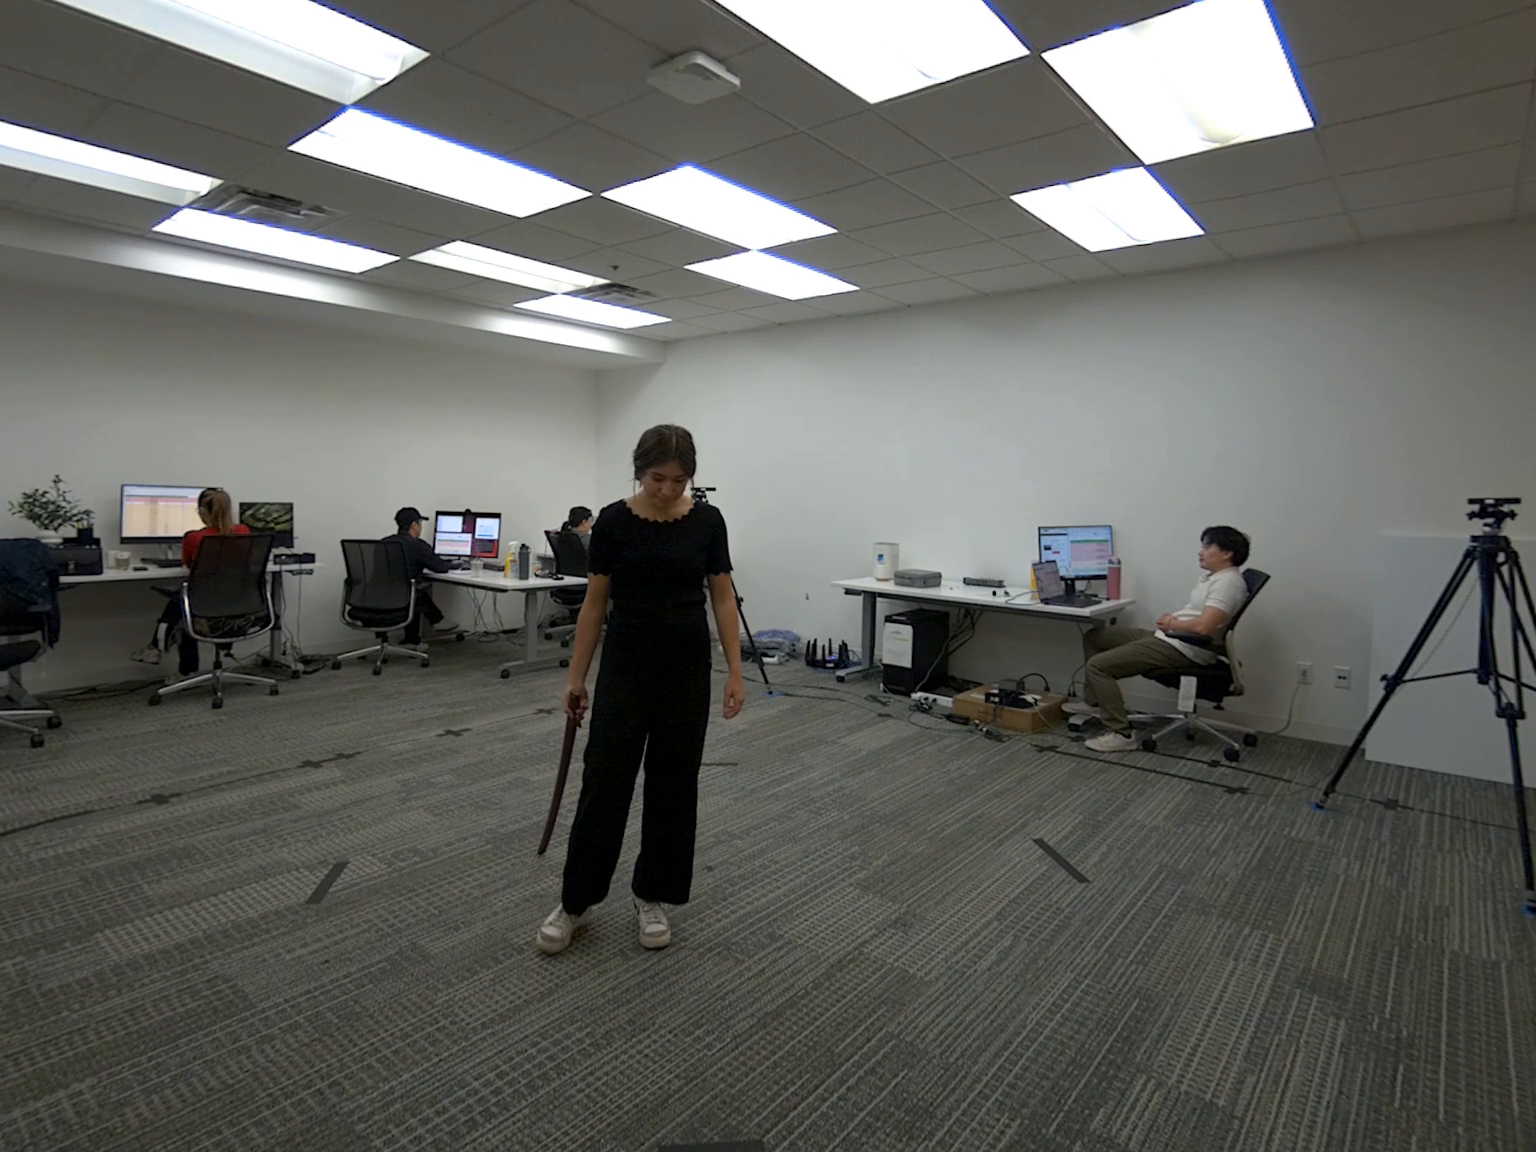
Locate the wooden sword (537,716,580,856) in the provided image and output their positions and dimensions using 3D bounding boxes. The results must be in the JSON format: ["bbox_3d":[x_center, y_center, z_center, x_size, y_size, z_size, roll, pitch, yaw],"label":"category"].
[{"bbox_3d":[-0.727,0.700,2.869,0.050,1.008,0.025,-3,48,-25],"label":"wooden sword"}]
